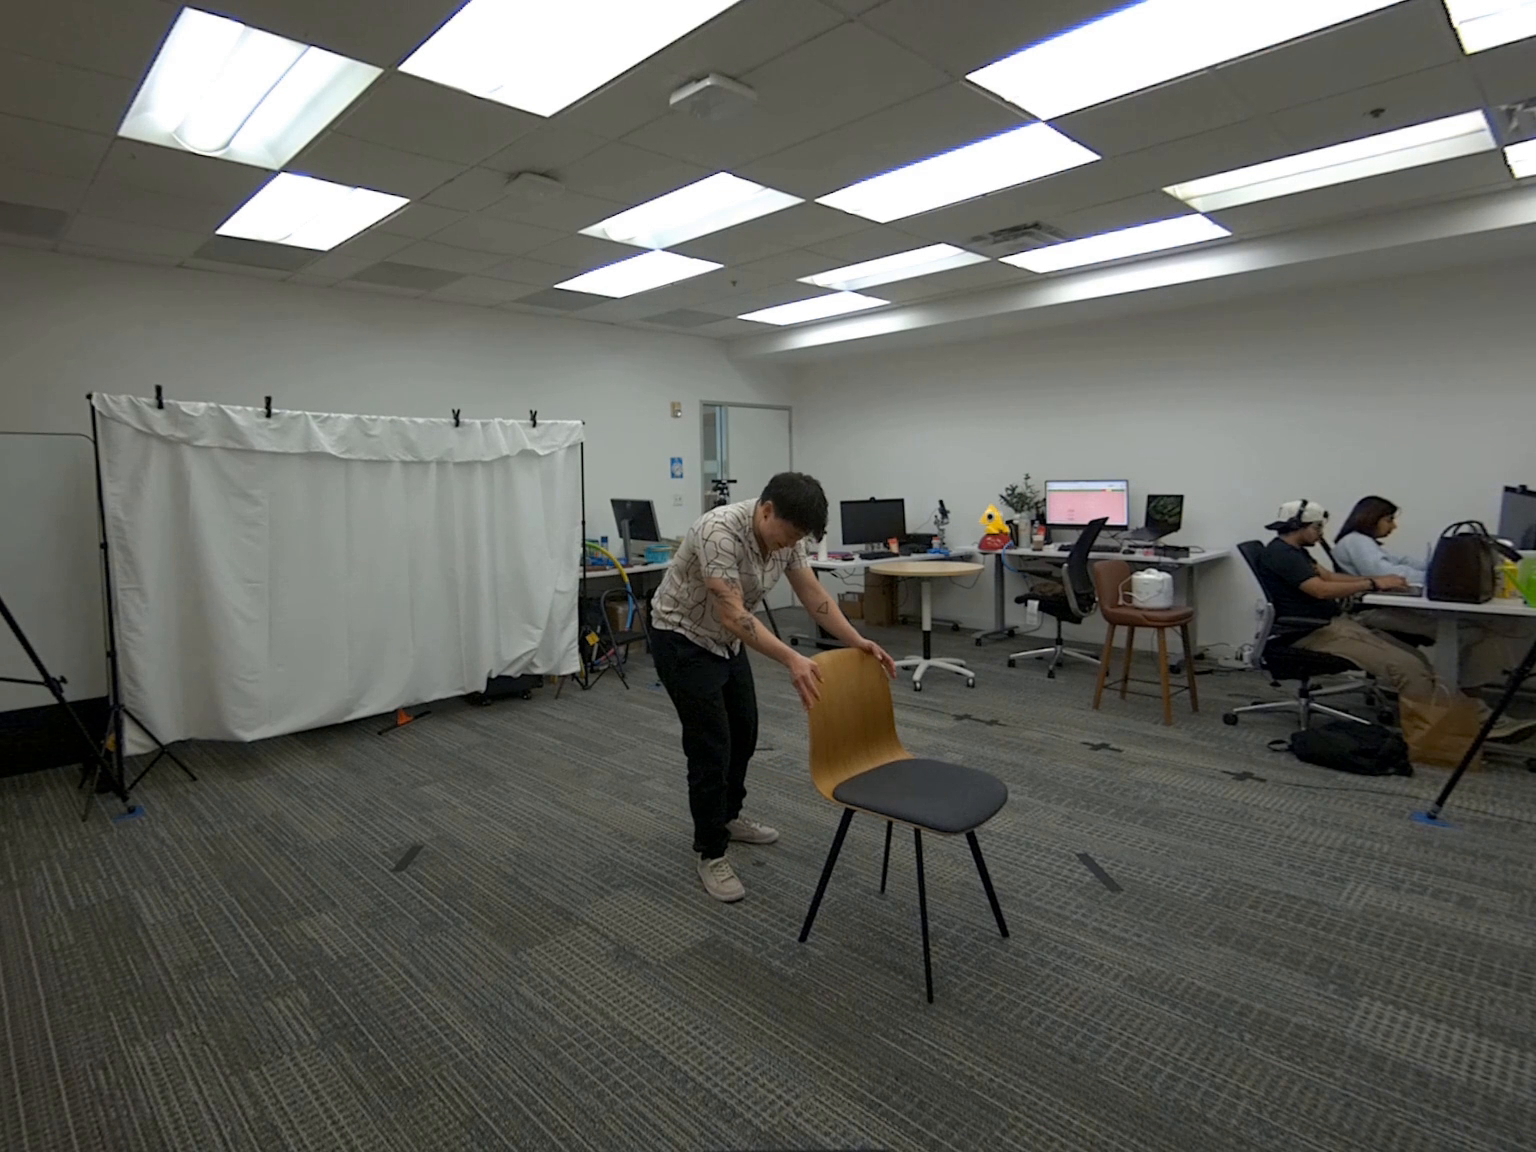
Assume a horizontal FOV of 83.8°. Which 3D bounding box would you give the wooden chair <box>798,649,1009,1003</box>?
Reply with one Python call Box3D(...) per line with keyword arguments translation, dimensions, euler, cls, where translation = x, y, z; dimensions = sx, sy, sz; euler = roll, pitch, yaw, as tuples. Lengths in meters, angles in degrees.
Box3D(translation=(0.411, 0.675, 2.545), dimensions=(0.537, 0.877, 0.465), euler=(-4, 1, 43), cls="wooden chair")
